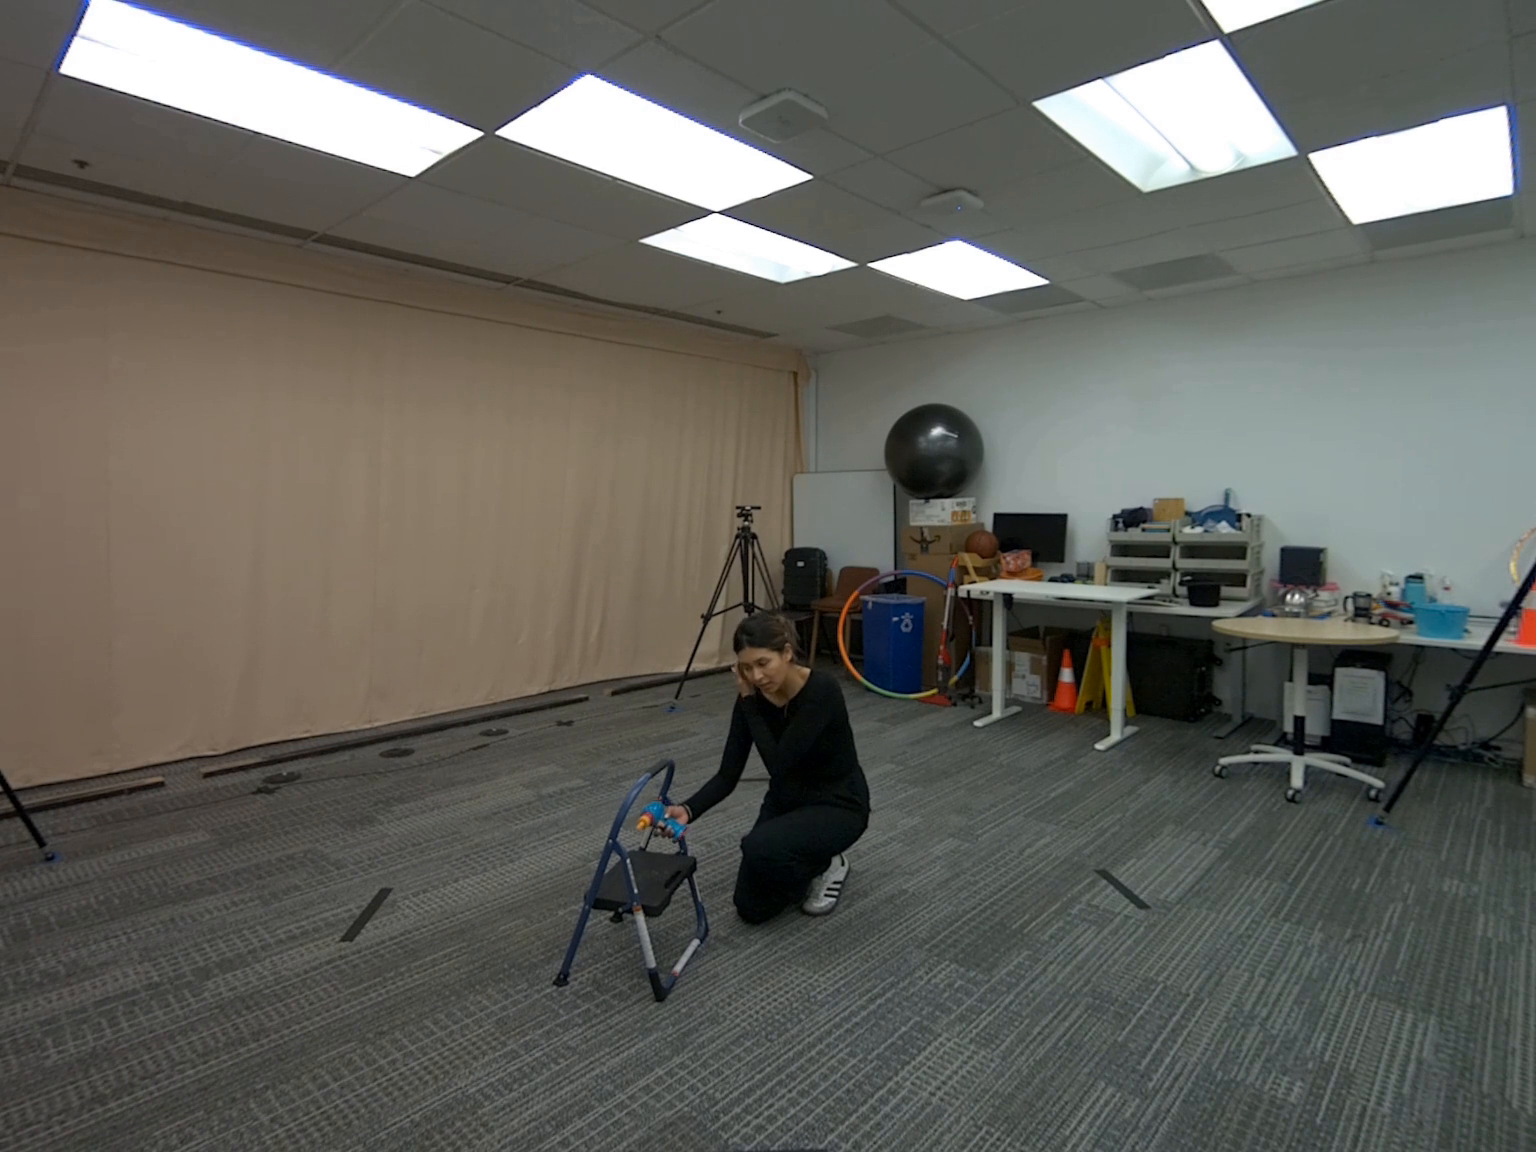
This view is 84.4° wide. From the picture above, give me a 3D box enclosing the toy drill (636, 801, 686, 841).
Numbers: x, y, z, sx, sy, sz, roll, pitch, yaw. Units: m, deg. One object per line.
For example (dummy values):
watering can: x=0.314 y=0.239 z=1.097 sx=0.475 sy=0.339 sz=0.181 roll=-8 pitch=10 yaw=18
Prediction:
toy drill: x=-0.322 y=0.755 z=2.556 sx=0.148 sy=0.061 sz=0.168 roll=37 pitch=16 yaw=8
